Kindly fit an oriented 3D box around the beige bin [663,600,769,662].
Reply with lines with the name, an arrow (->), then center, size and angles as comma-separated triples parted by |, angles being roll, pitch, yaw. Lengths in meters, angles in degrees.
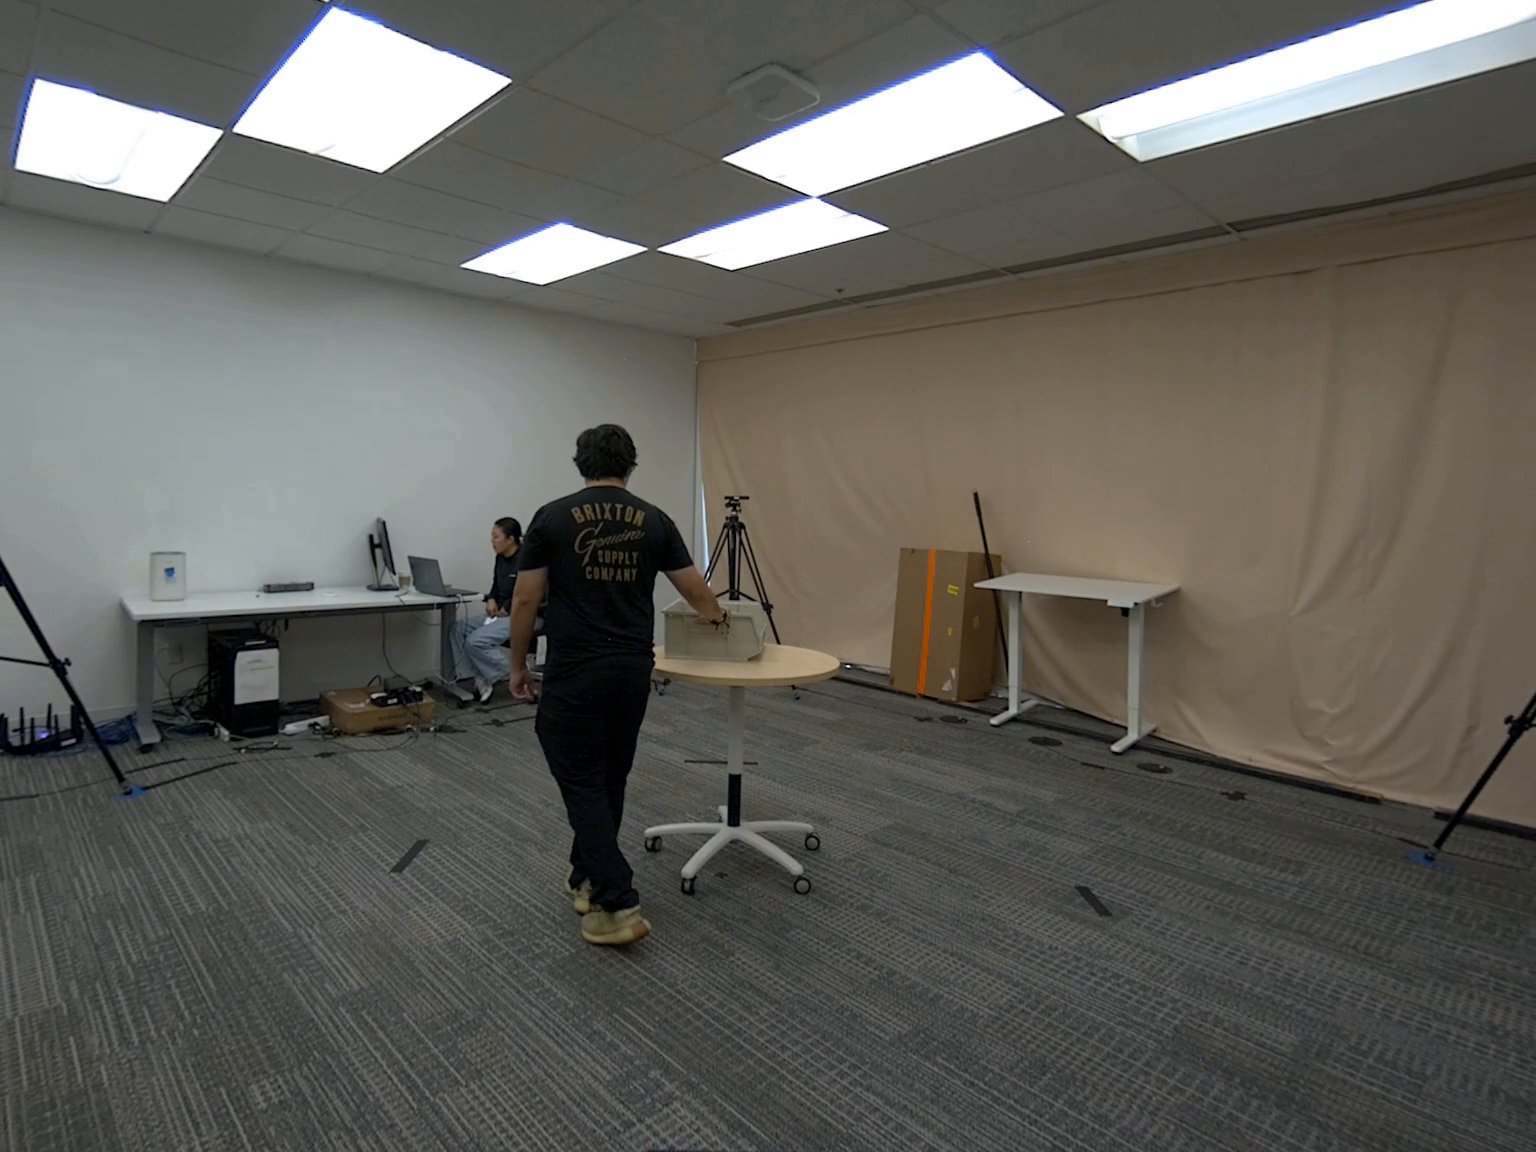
beige bin -> -0.200, 0.210, 3.329 | 0.379, 0.188, 0.421 | 1, 4, 6
